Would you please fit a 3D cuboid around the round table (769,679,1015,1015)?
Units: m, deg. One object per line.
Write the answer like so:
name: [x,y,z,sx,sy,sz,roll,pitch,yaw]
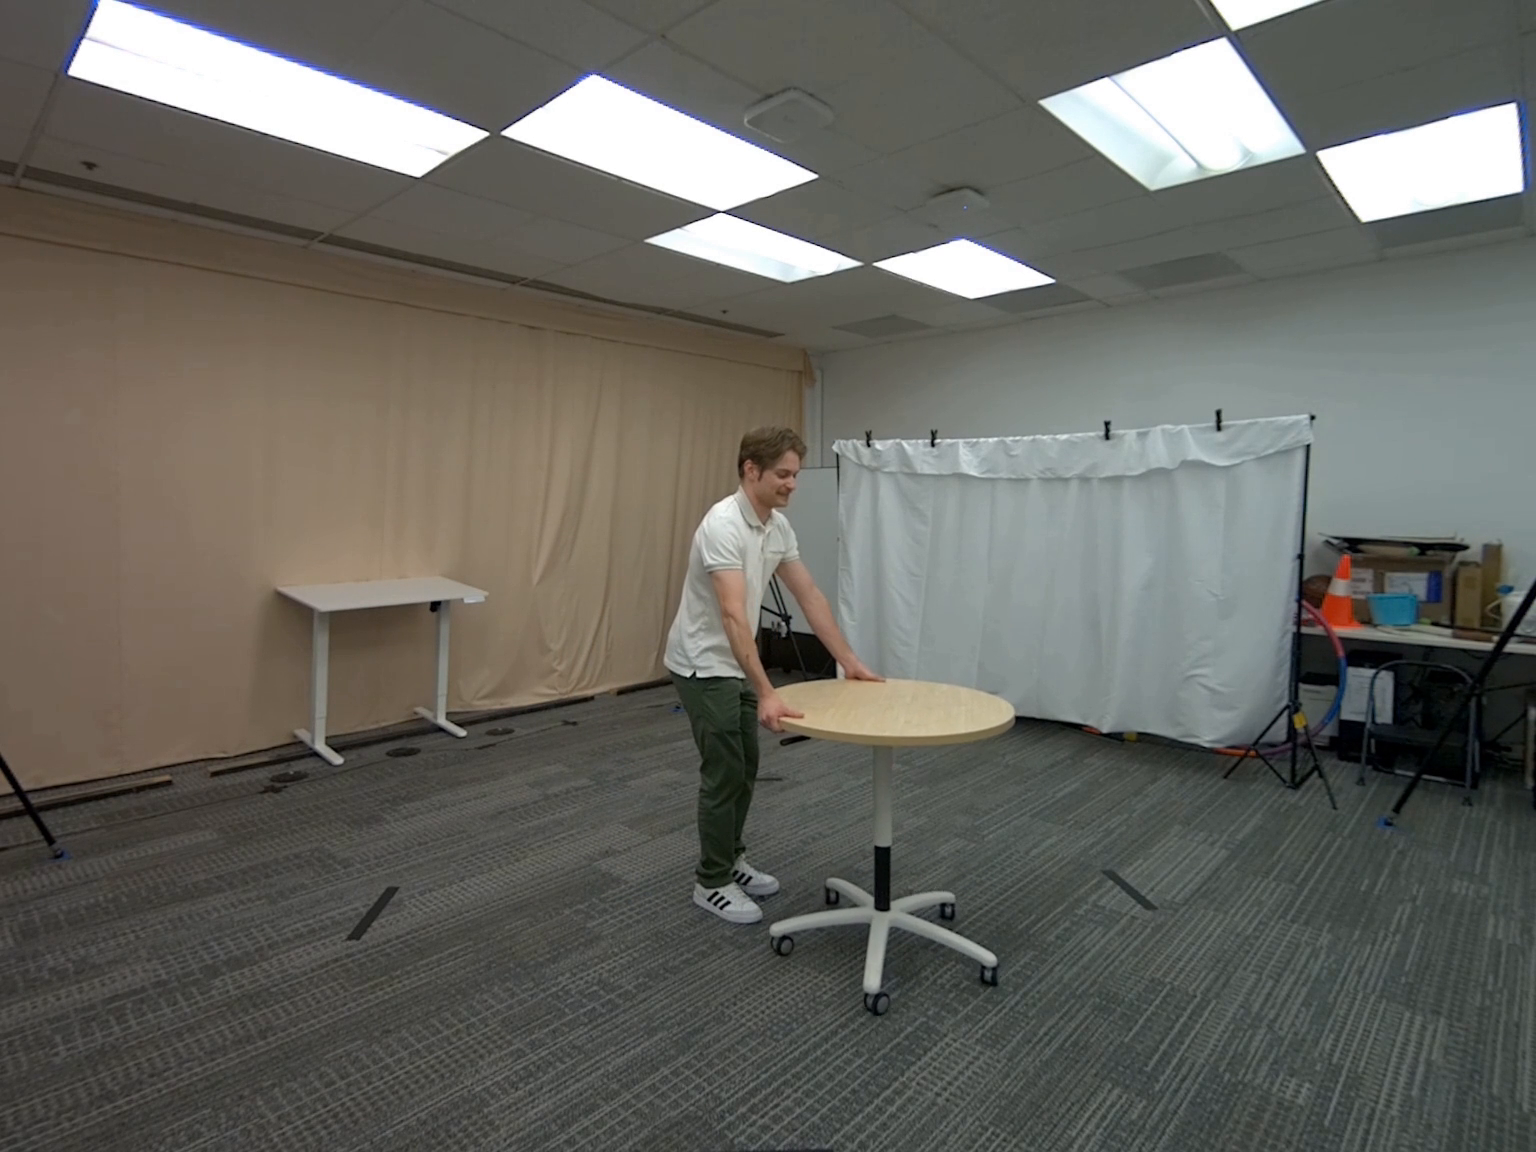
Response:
round table: [0.356,0.785,2.603,0.763,0.792,0.767,0,4,-2]
